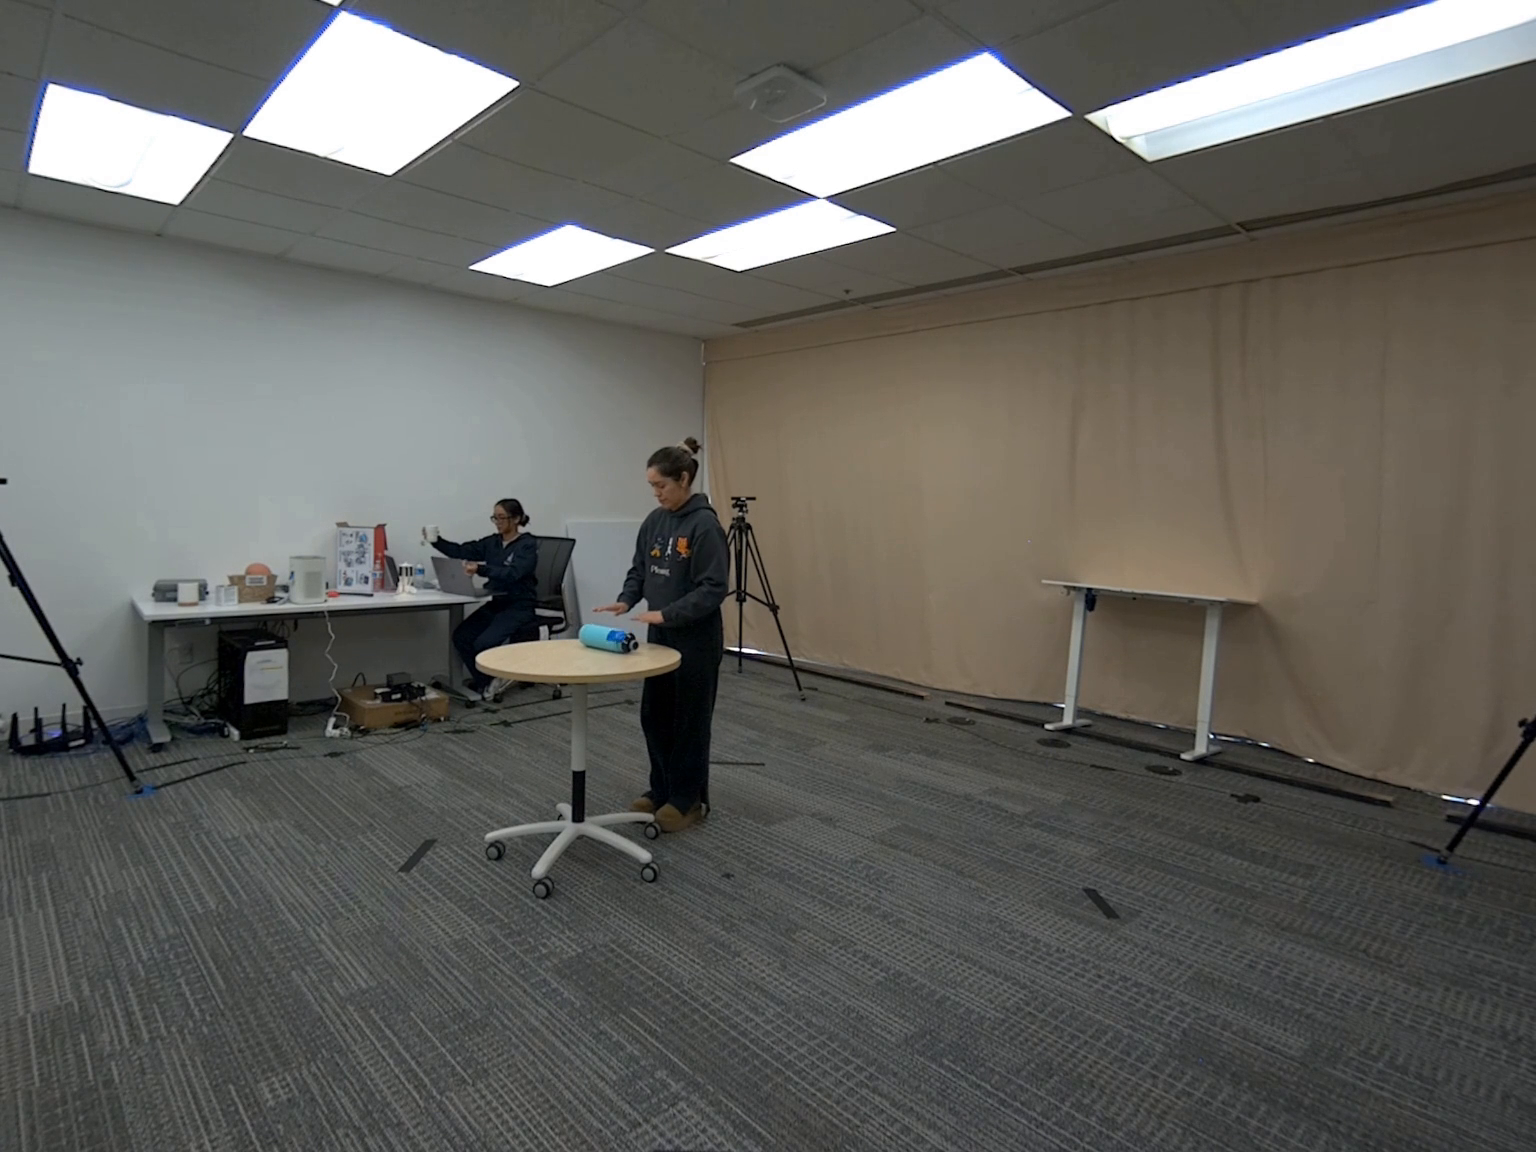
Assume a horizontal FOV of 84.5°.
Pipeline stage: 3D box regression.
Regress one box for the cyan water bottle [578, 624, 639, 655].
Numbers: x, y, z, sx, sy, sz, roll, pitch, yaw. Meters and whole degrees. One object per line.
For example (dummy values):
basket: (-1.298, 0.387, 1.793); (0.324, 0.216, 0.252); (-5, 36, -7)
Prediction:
cyan water bottle: (-0.637, 0.249, 3.328); (0.291, 0.092, 0.090); (8, 8, 38)
